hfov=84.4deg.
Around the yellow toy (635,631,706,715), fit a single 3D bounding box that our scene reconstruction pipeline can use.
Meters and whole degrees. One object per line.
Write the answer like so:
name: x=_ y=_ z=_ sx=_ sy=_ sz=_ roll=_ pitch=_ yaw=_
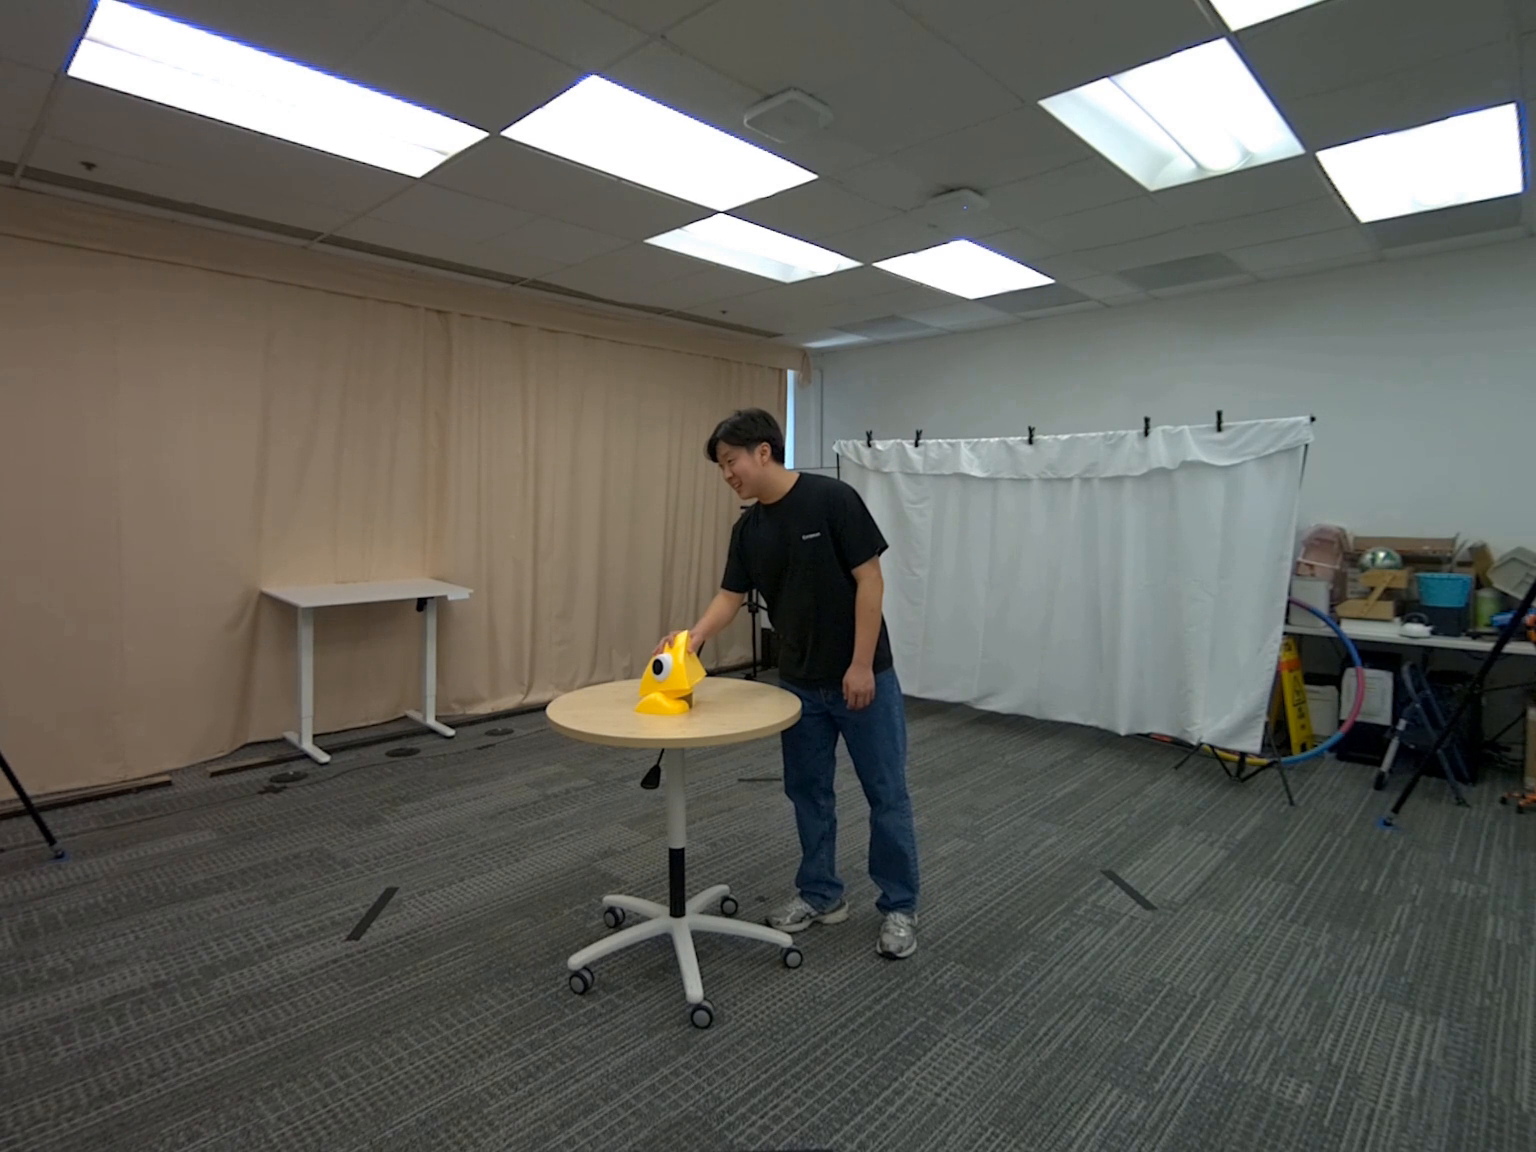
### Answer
yellow toy: x=-0.301 y=0.278 z=2.507 sx=0.196 sy=0.230 sz=0.202 roll=0 pitch=3 yaw=13
